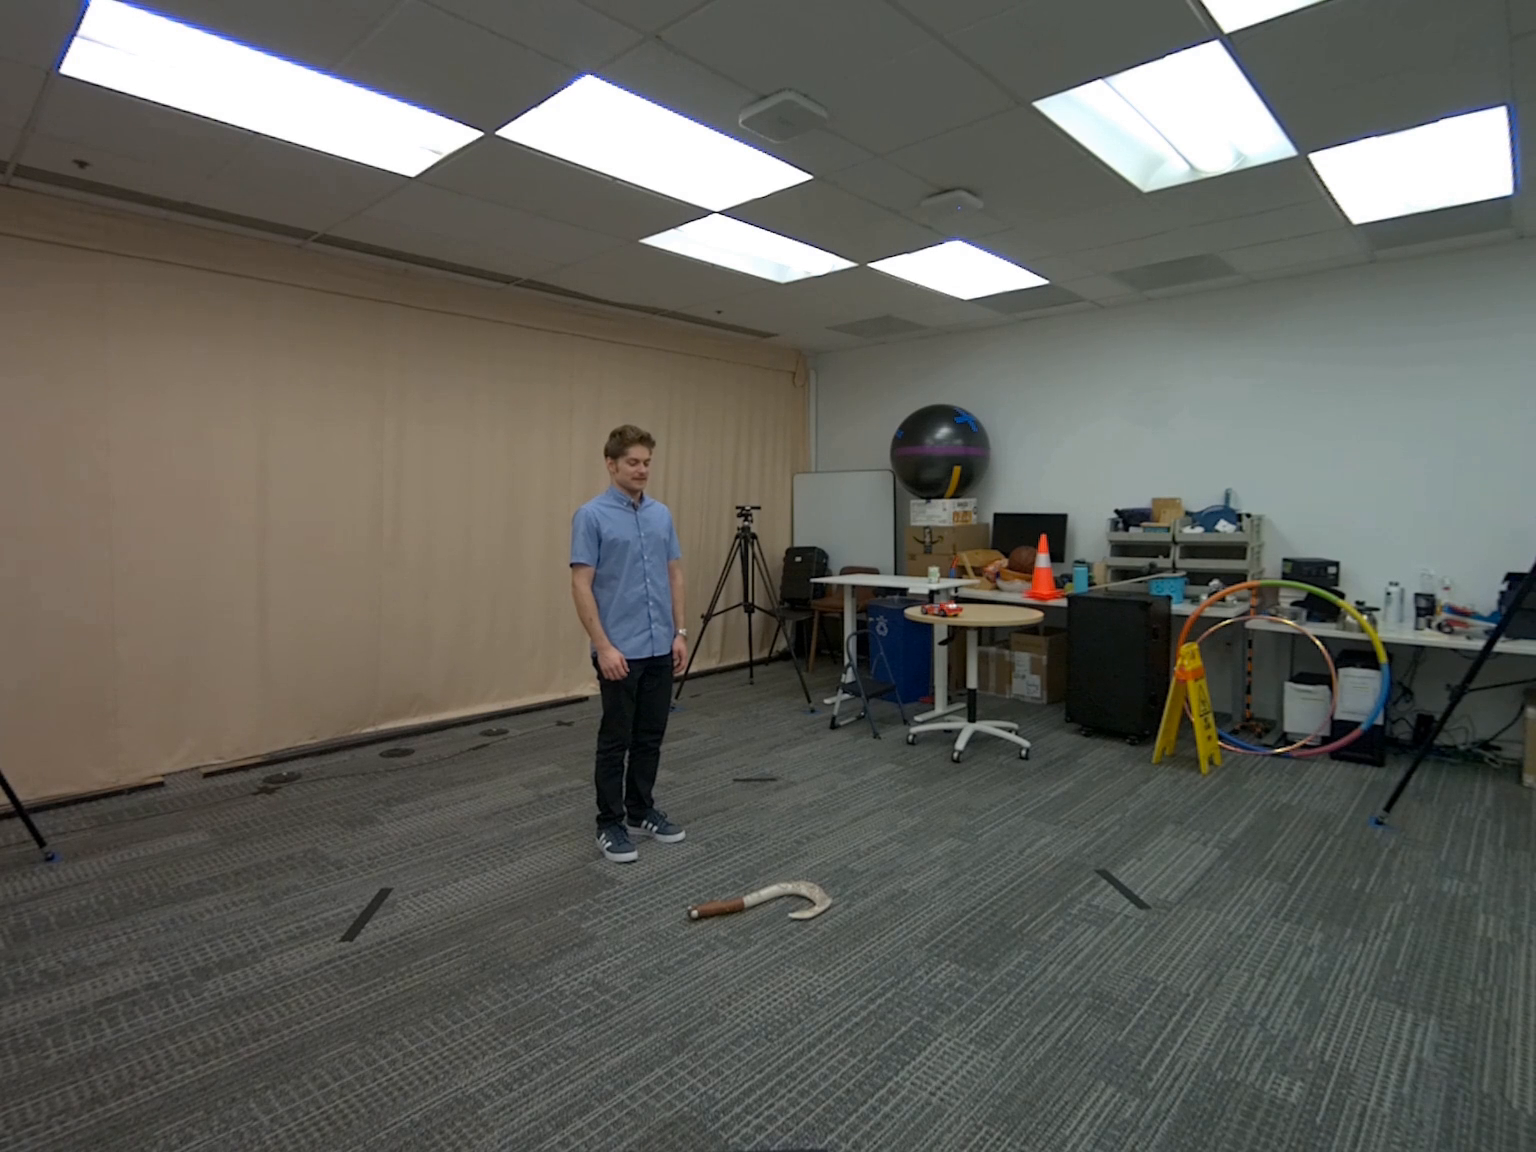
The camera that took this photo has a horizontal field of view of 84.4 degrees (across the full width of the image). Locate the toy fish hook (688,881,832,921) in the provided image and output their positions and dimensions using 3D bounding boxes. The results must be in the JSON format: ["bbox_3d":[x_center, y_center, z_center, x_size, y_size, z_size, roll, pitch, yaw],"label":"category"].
[{"bbox_3d":[-0.020,1.131,2.879,0.495,0.048,0.230,-2,4,-24],"label":"toy fish hook"}]
